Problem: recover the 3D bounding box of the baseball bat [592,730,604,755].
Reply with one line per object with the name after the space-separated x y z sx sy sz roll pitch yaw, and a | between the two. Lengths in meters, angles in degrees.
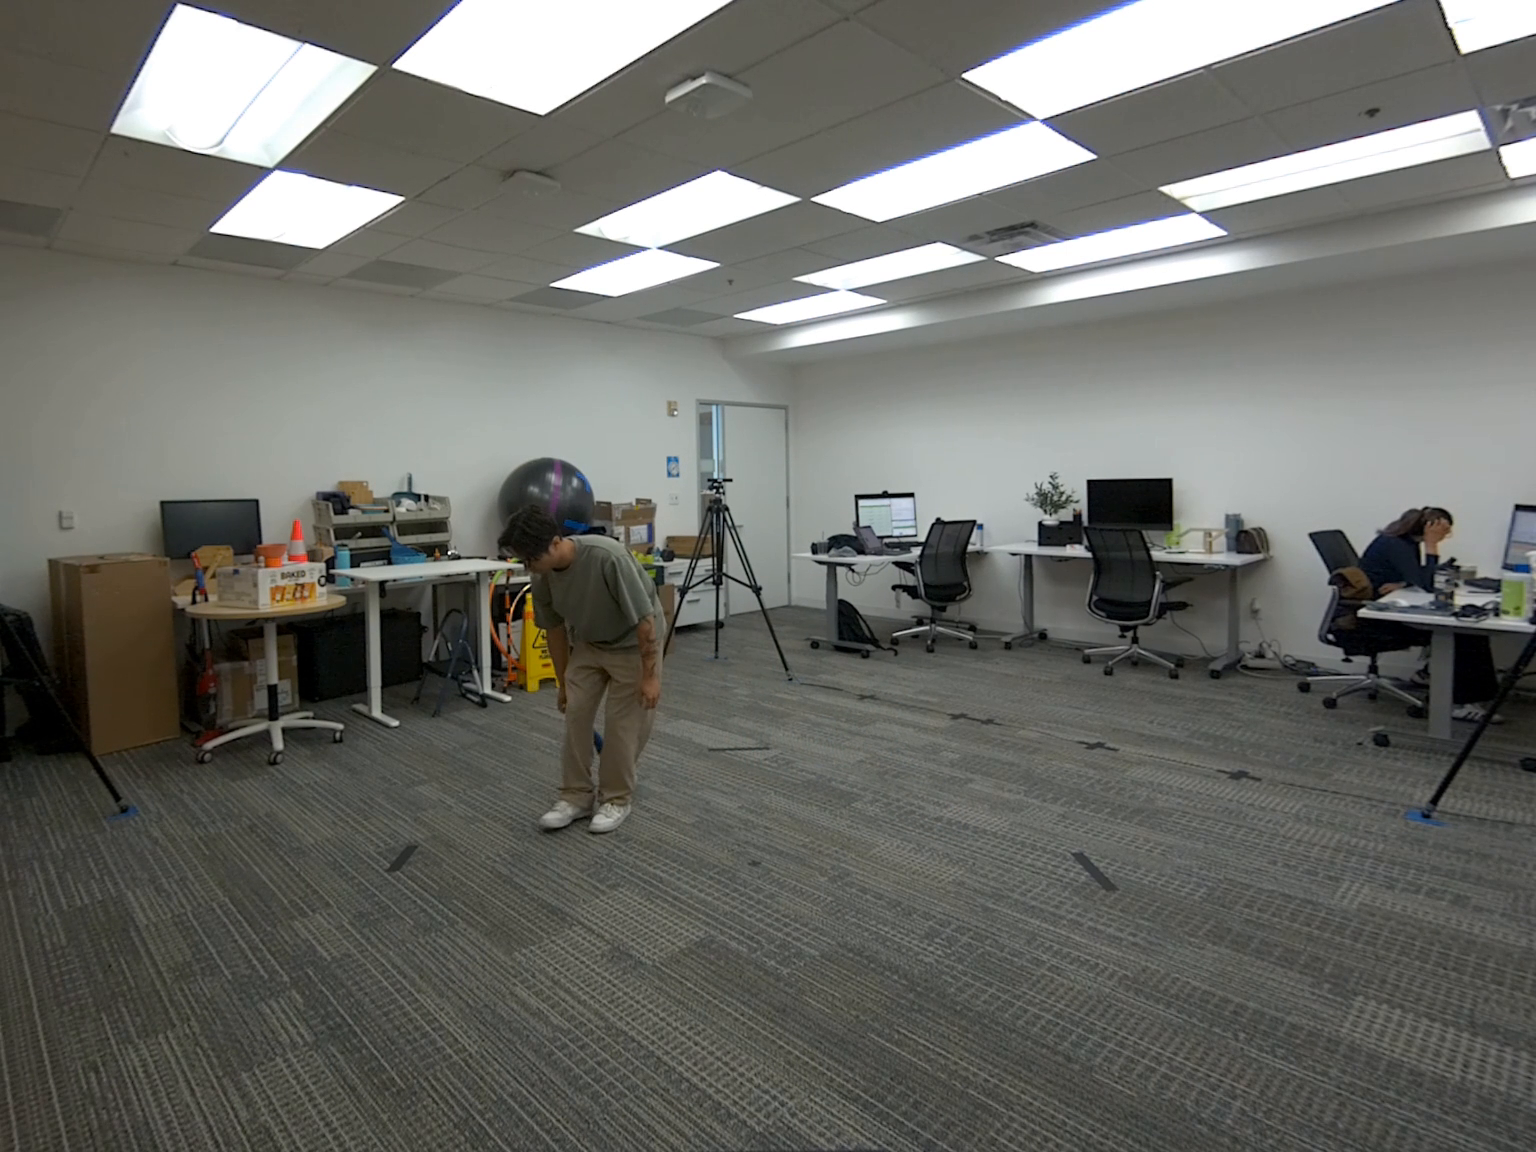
-0.737 0.751 3.791 0.090 0.526 0.091 -22 30 12 | baseball bat
